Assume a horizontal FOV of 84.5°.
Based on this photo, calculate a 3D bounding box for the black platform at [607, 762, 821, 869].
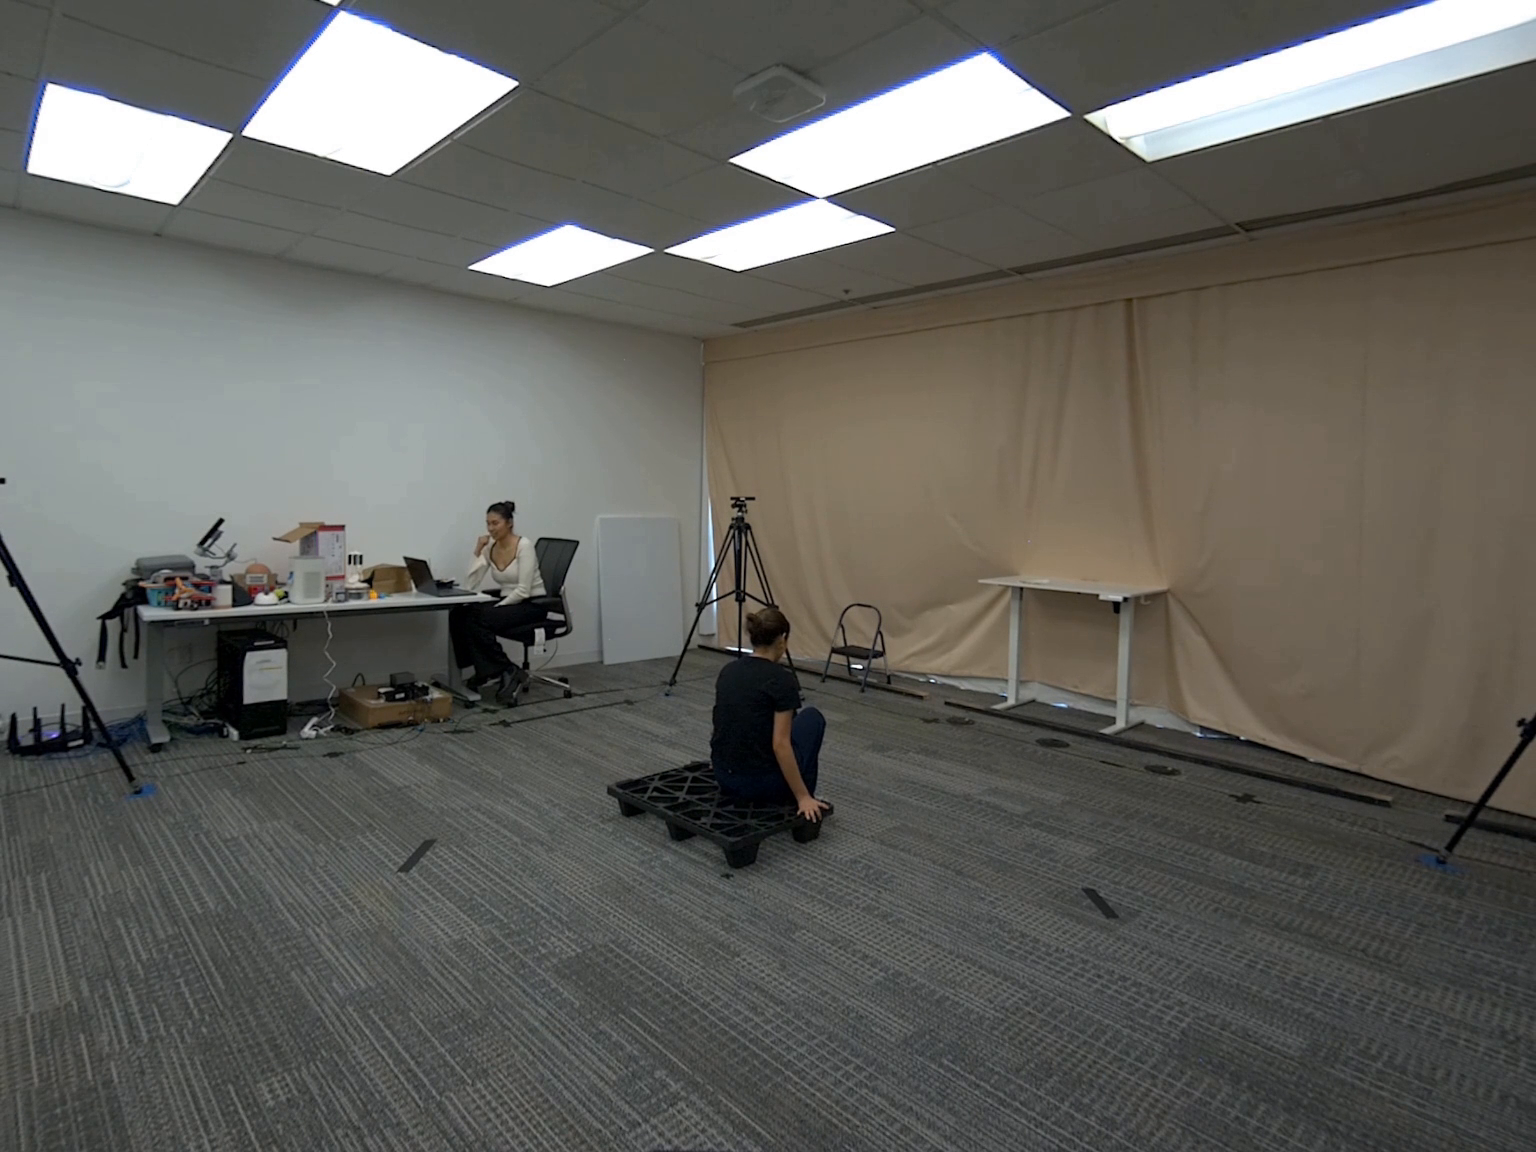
[{"bbox_3d":[-0.224,0.999,3.553,0.591,0.143,0.826,-5,7,-45],"label":"black platform"}]
